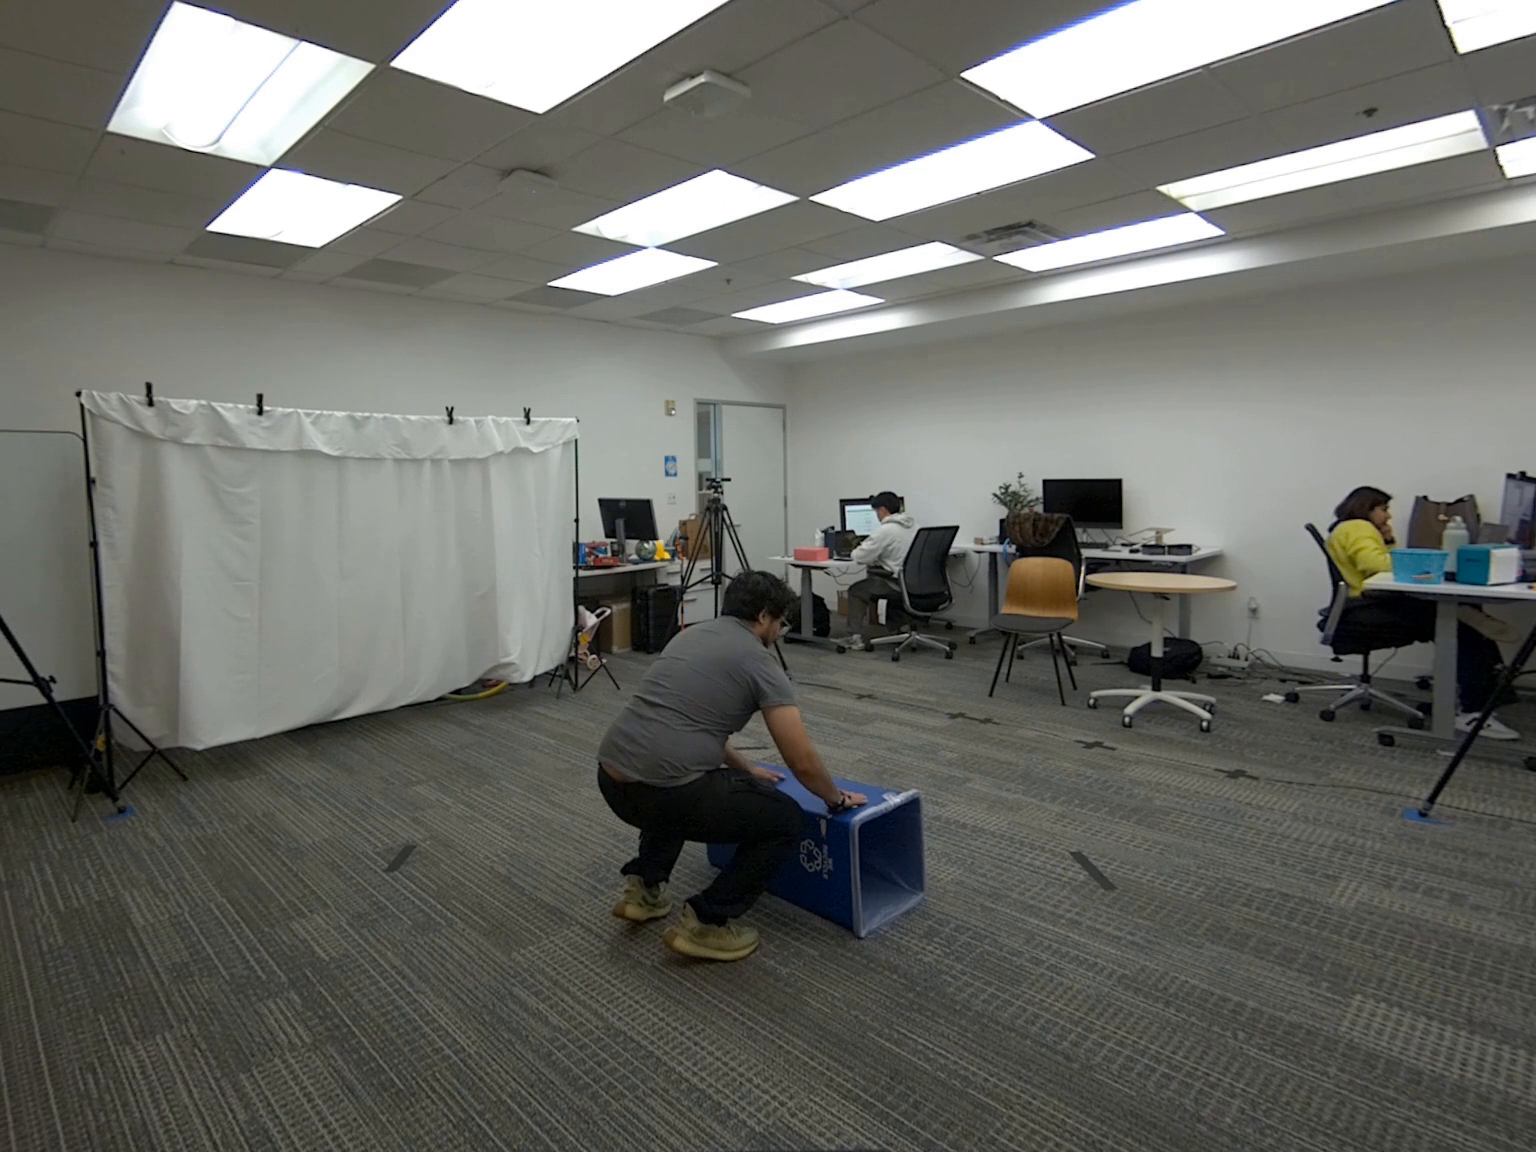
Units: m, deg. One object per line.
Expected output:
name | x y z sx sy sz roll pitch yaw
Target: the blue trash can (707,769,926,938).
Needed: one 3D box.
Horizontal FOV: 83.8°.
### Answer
blue trash can | 0.140 0.884 2.950 0.364 0.377 0.735 -7 7 -44
